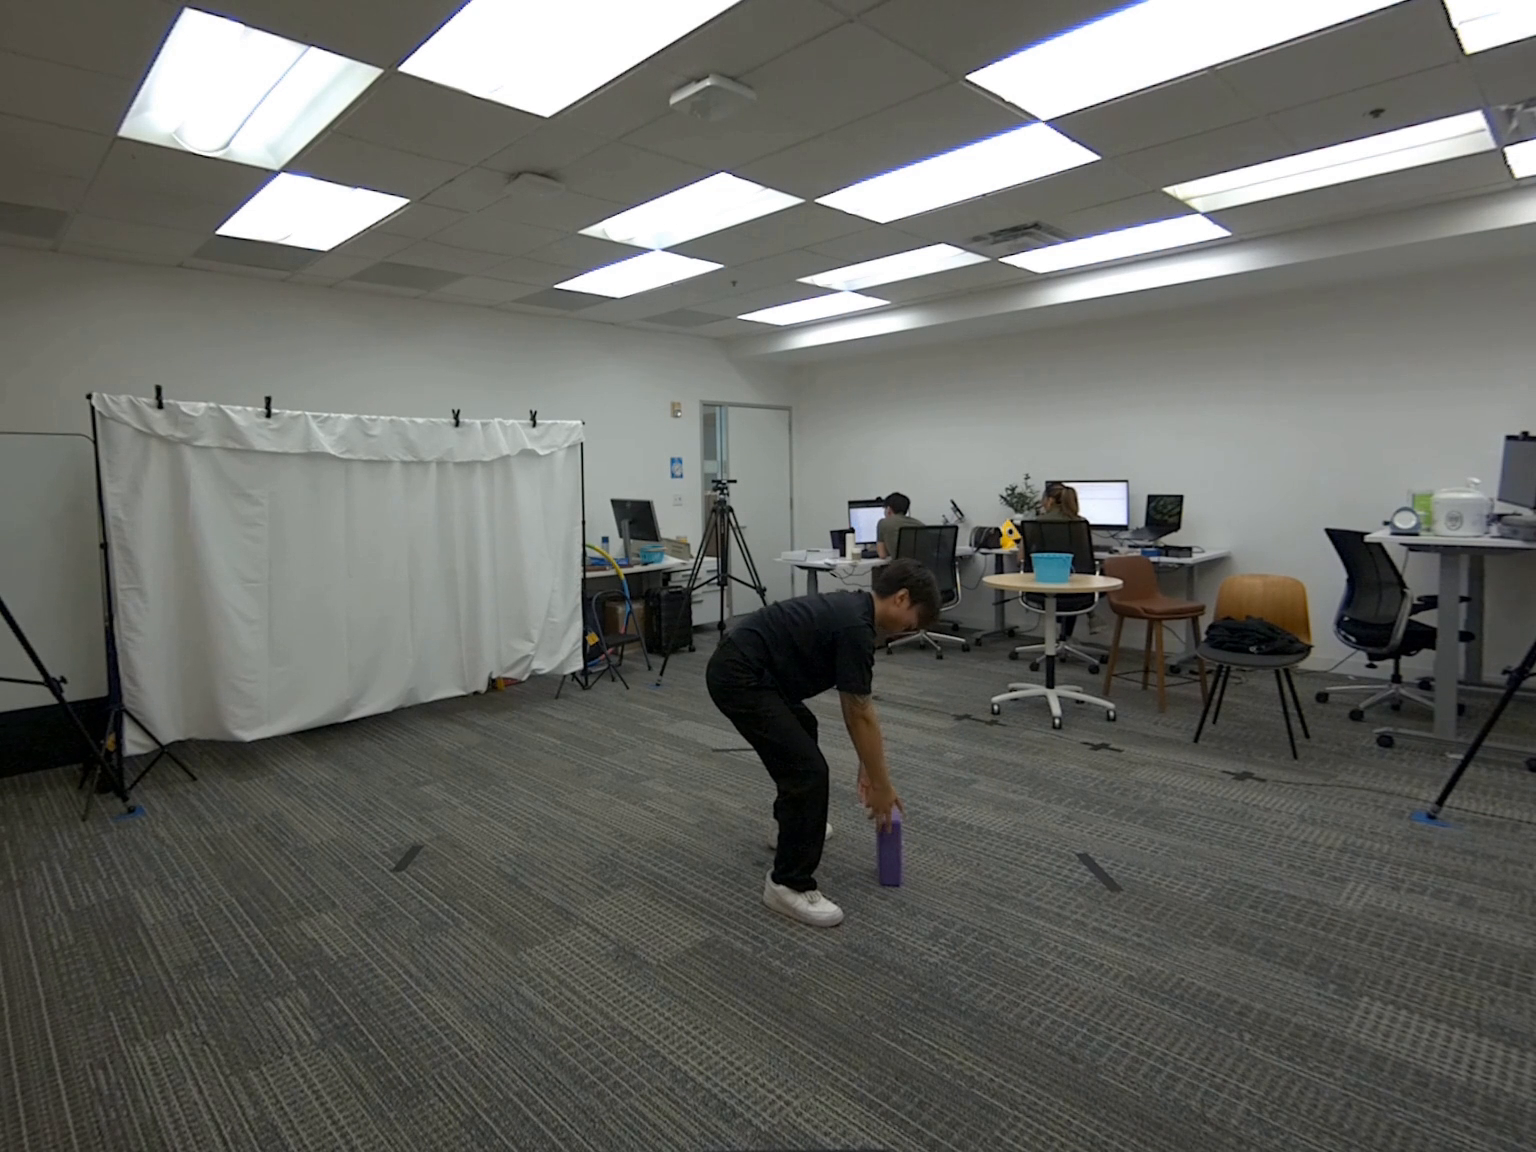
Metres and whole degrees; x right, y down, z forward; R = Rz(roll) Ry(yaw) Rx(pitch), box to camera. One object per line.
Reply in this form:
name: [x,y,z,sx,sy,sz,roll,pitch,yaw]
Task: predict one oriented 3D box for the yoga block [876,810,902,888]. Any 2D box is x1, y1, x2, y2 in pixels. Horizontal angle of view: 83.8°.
yoga block: [0.424,0.939,2.980,0.077,0.229,0.148,-2,2,4]
